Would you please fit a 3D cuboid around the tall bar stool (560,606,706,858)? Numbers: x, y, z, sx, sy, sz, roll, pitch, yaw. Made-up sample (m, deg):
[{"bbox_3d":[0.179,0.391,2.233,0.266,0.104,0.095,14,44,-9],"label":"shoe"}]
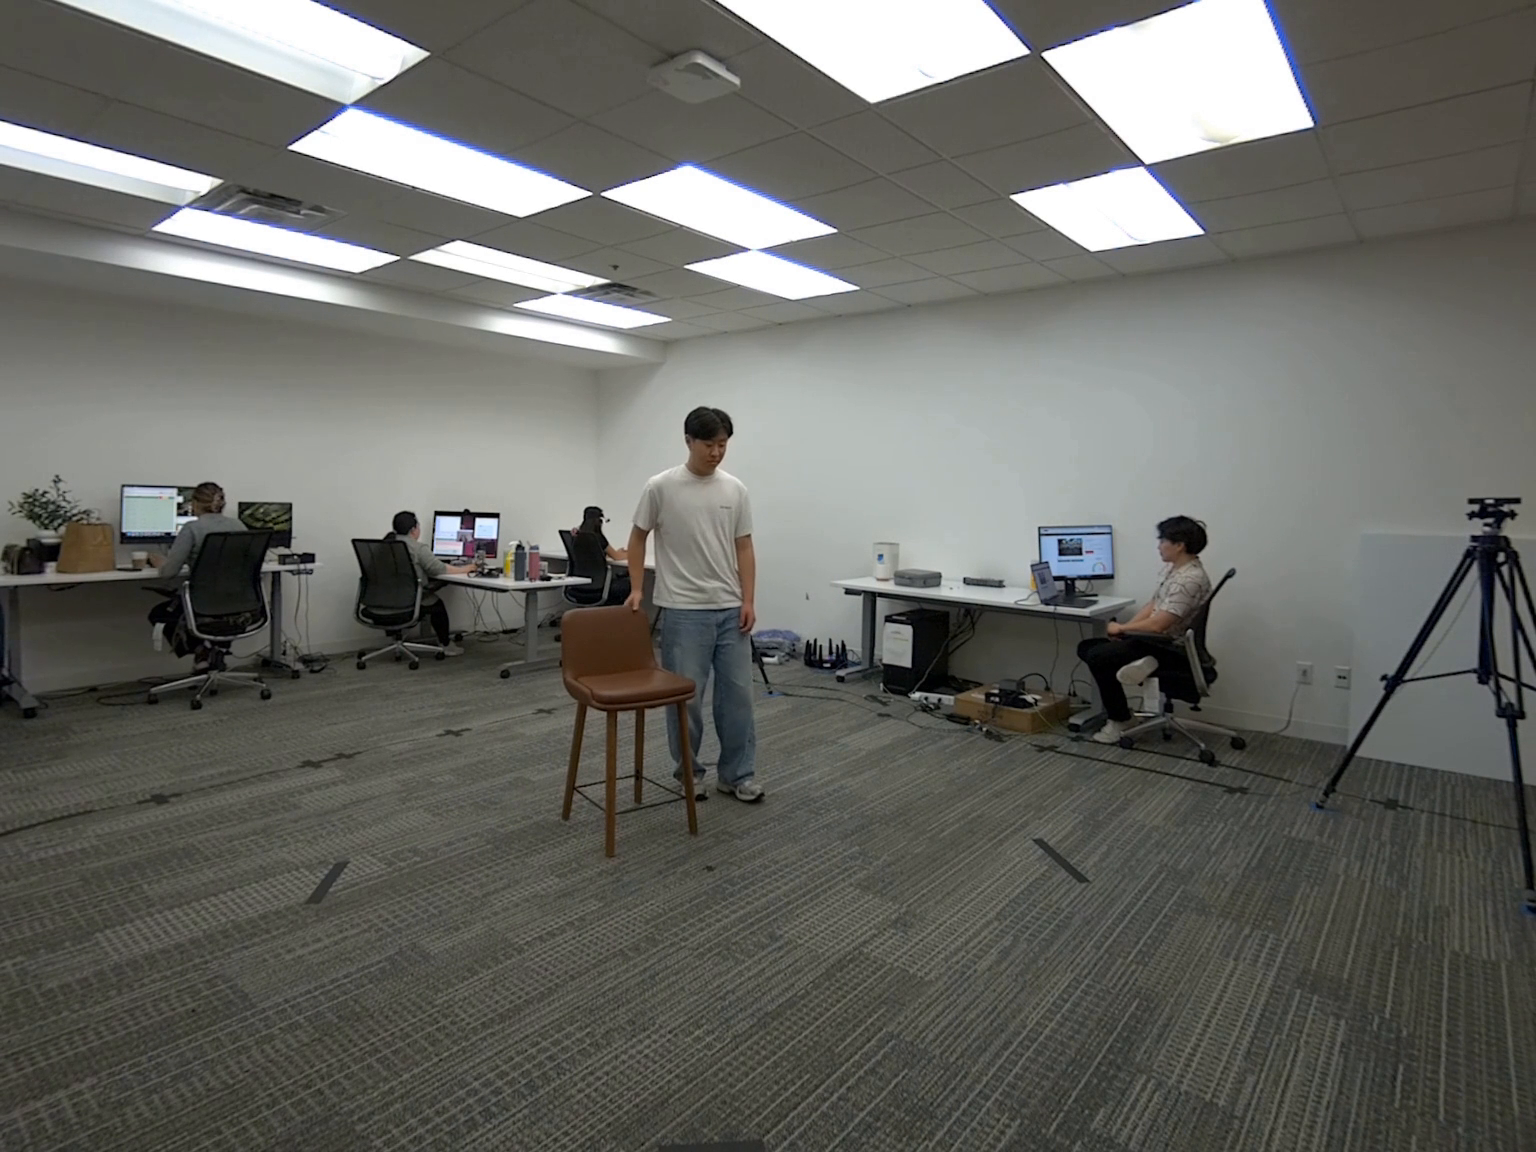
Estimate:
[{"bbox_3d":[-0.591,0.590,3.463,0.443,0.888,0.482,-1,2,-37],"label":"tall bar stool"}]
